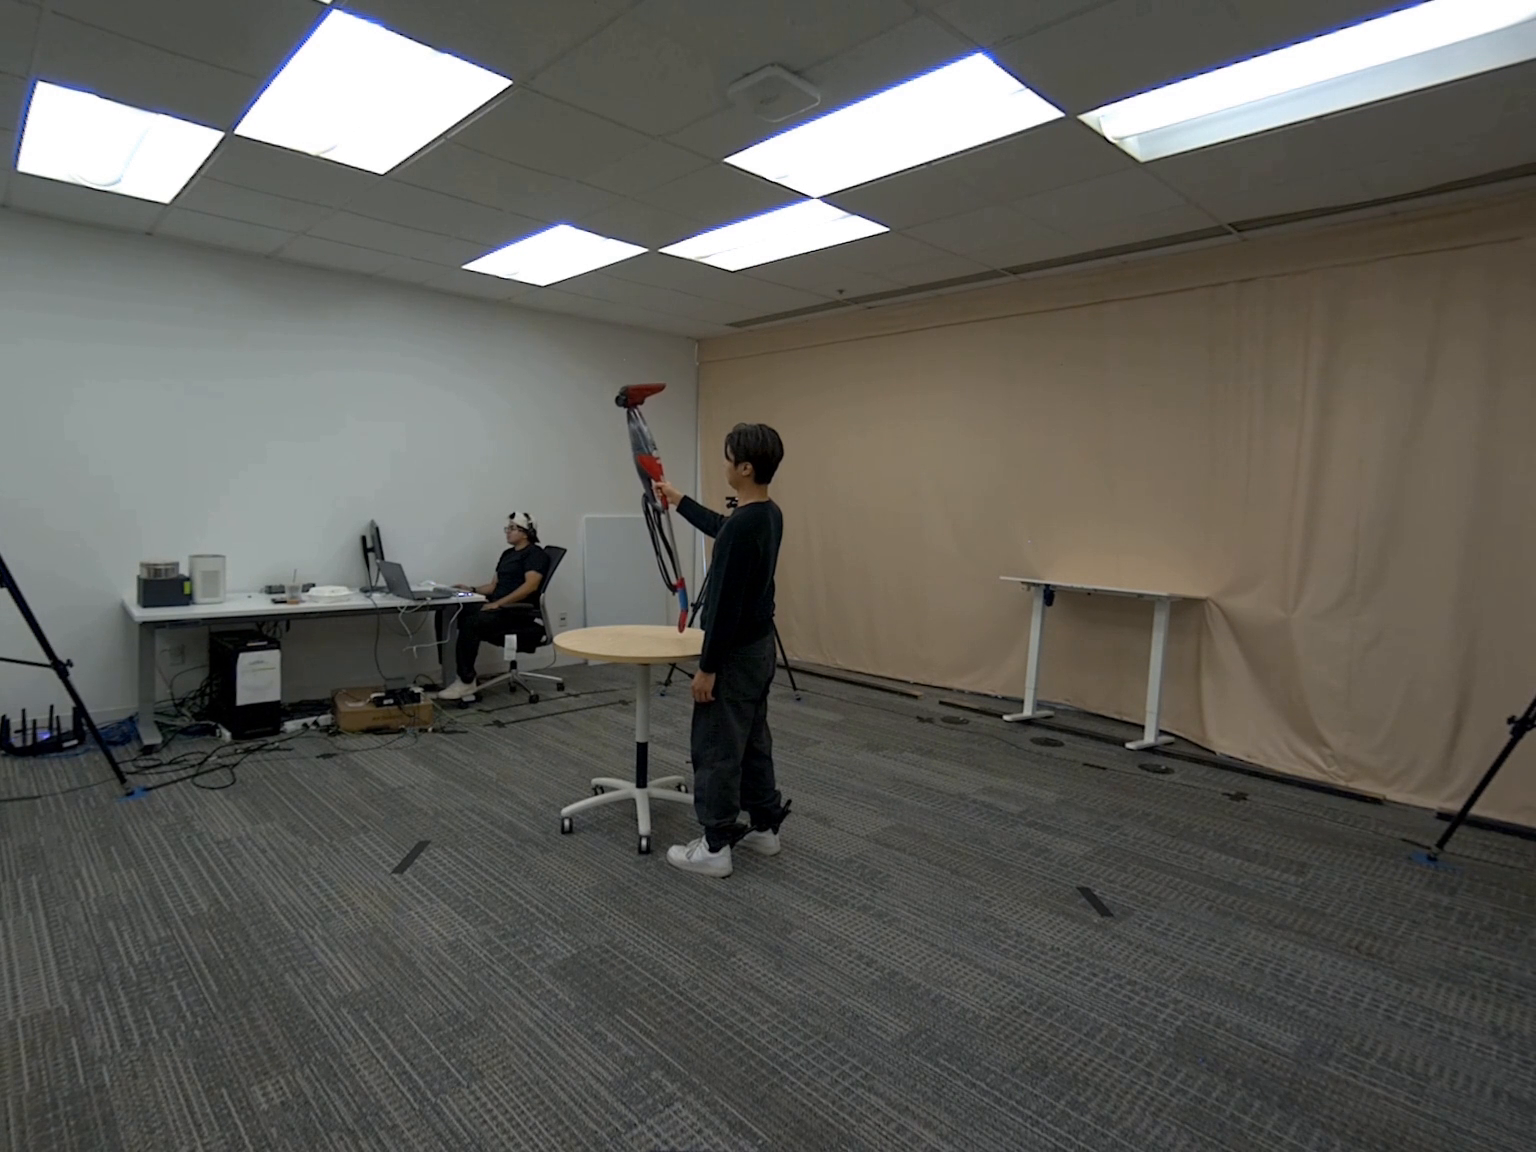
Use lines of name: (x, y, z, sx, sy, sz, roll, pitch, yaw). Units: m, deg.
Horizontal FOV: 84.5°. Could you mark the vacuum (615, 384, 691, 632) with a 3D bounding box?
vacuum: (-0.484, -0.274, 3.606, 0.147, 1.043, 0.249, -4, 9, 37)
